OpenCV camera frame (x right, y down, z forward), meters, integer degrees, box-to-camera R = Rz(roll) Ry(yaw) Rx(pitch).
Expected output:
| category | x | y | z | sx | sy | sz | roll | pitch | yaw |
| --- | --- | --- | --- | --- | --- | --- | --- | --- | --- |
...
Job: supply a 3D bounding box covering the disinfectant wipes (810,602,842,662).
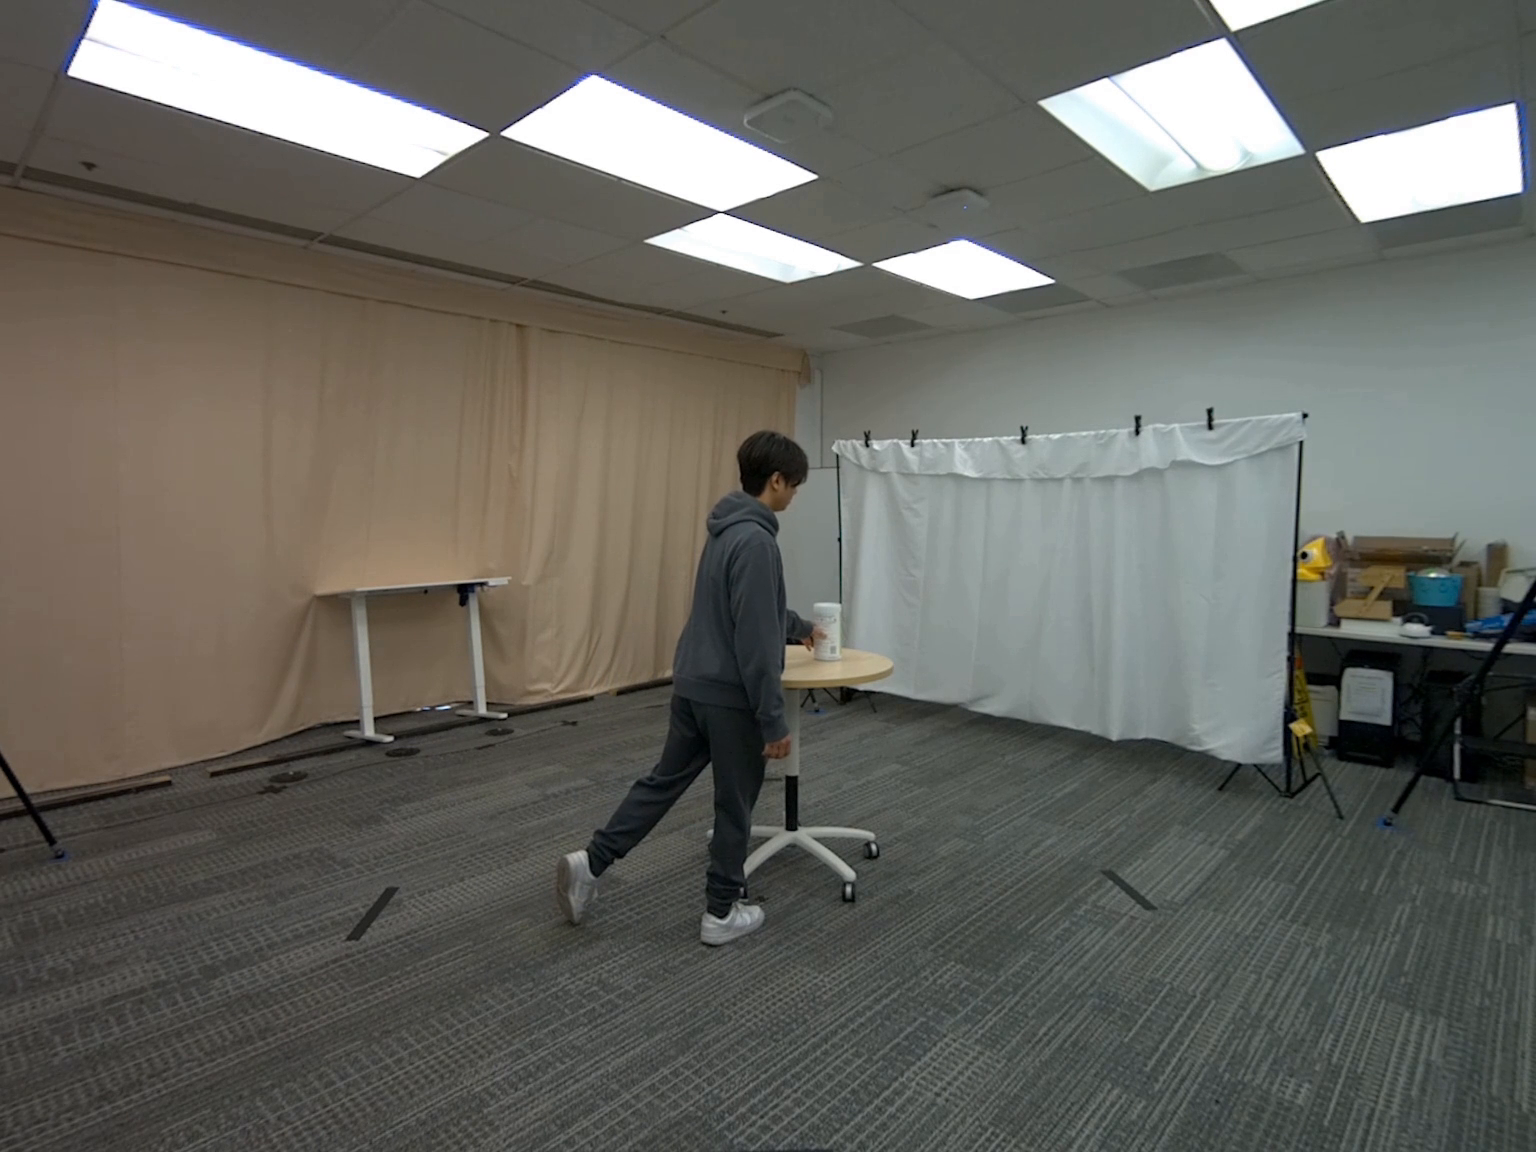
| category | x | y | z | sx | sy | sz | roll | pitch | yaw |
| --- | --- | --- | --- | --- | --- | --- | --- | --- | --- |
| disinfectant wipes | 0.237 | 0.218 | 3.266 | 0.118 | 0.217 | 0.118 | 1 | 2 | -2 |
